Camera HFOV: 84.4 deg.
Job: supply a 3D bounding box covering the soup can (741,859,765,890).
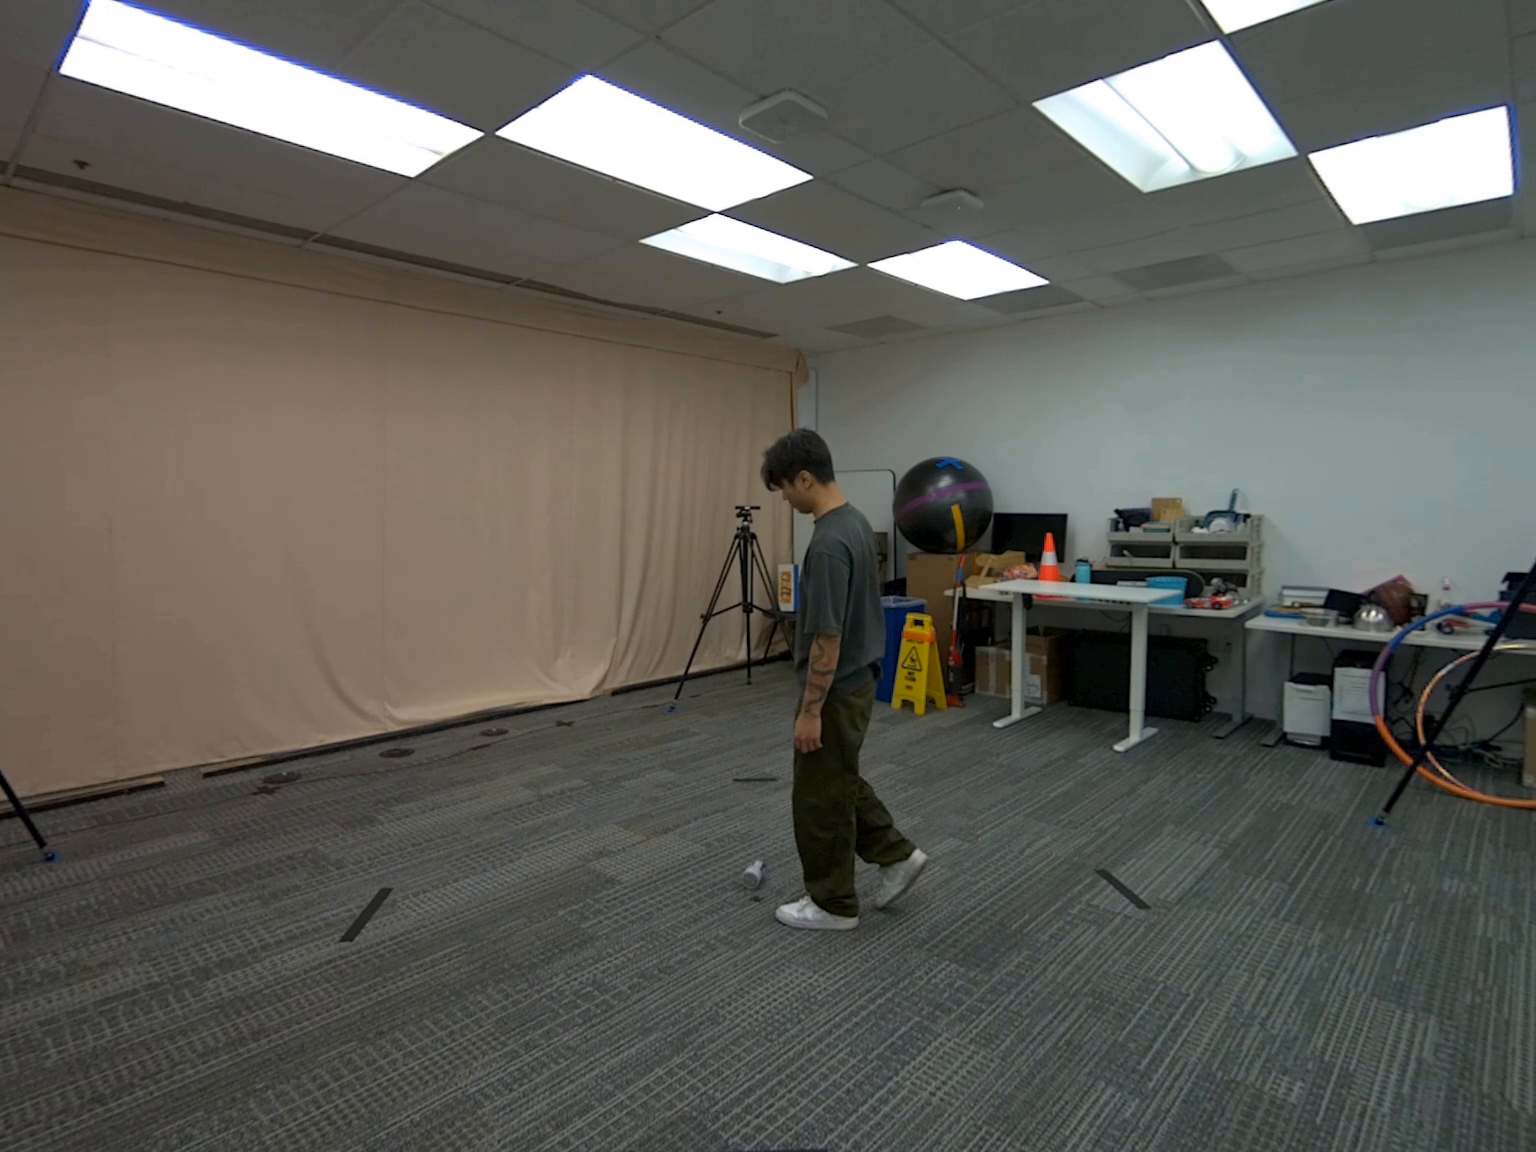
[{"bbox_3d":[-0.052,1.095,3.107,0.068,0.067,0.120,1,4,13],"label":"soup can"}]
